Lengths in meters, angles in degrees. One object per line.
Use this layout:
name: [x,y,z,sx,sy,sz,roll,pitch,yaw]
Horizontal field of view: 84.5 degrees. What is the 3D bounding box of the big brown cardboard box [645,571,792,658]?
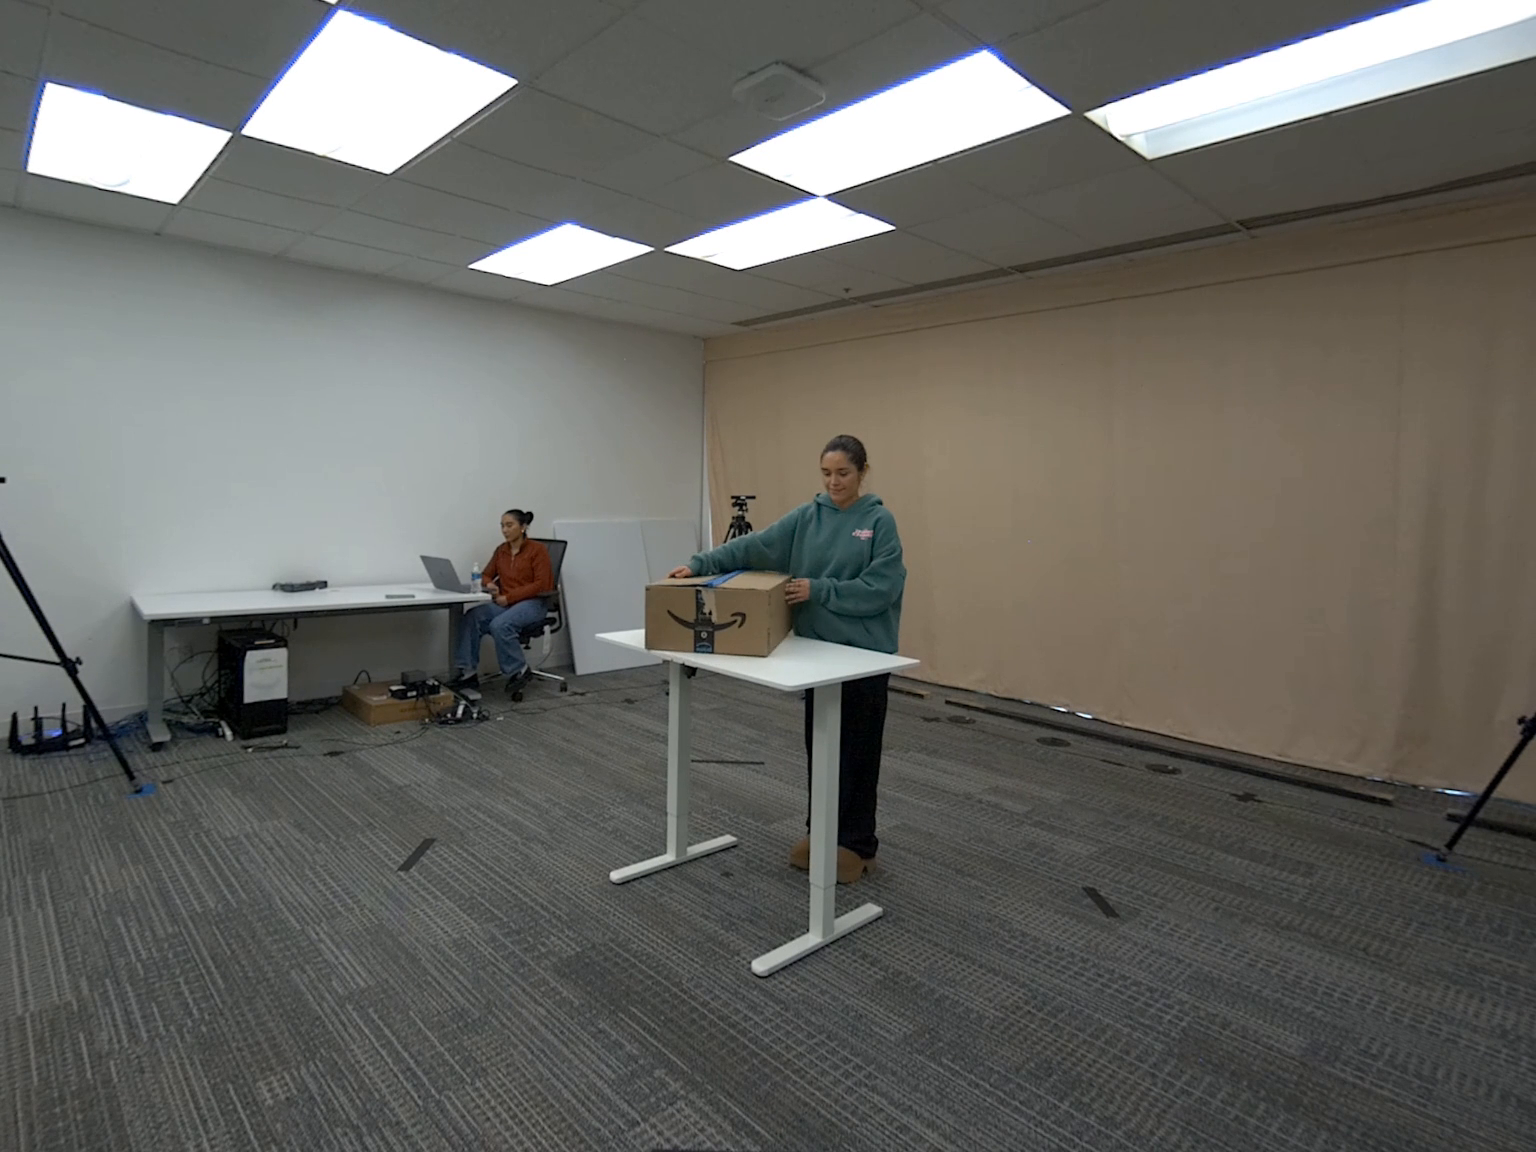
big brown cardboard box: [-0.160,0.122,3.007,0.421,0.232,0.586,2,6,10]
